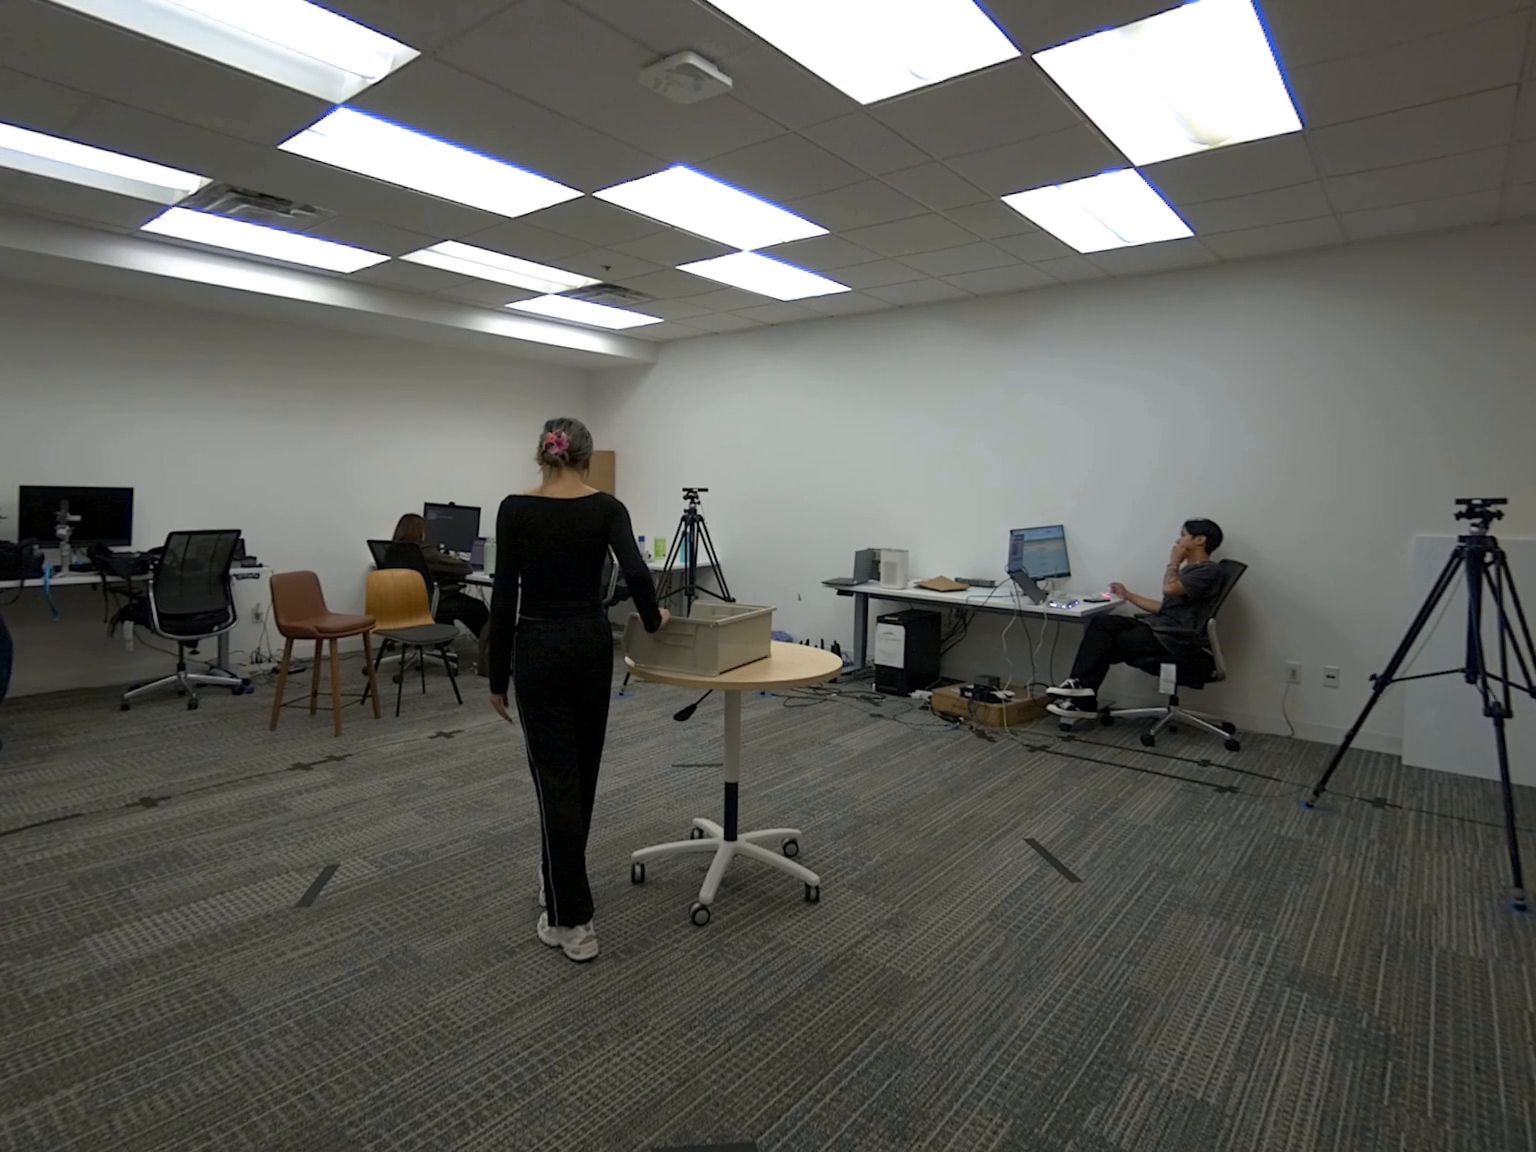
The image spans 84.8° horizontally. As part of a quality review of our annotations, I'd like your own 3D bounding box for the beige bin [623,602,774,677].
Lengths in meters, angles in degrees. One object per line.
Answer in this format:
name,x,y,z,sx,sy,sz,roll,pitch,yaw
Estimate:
beige bin,-0.238,0.201,2.949,0.388,0.188,0.412,5,6,27
